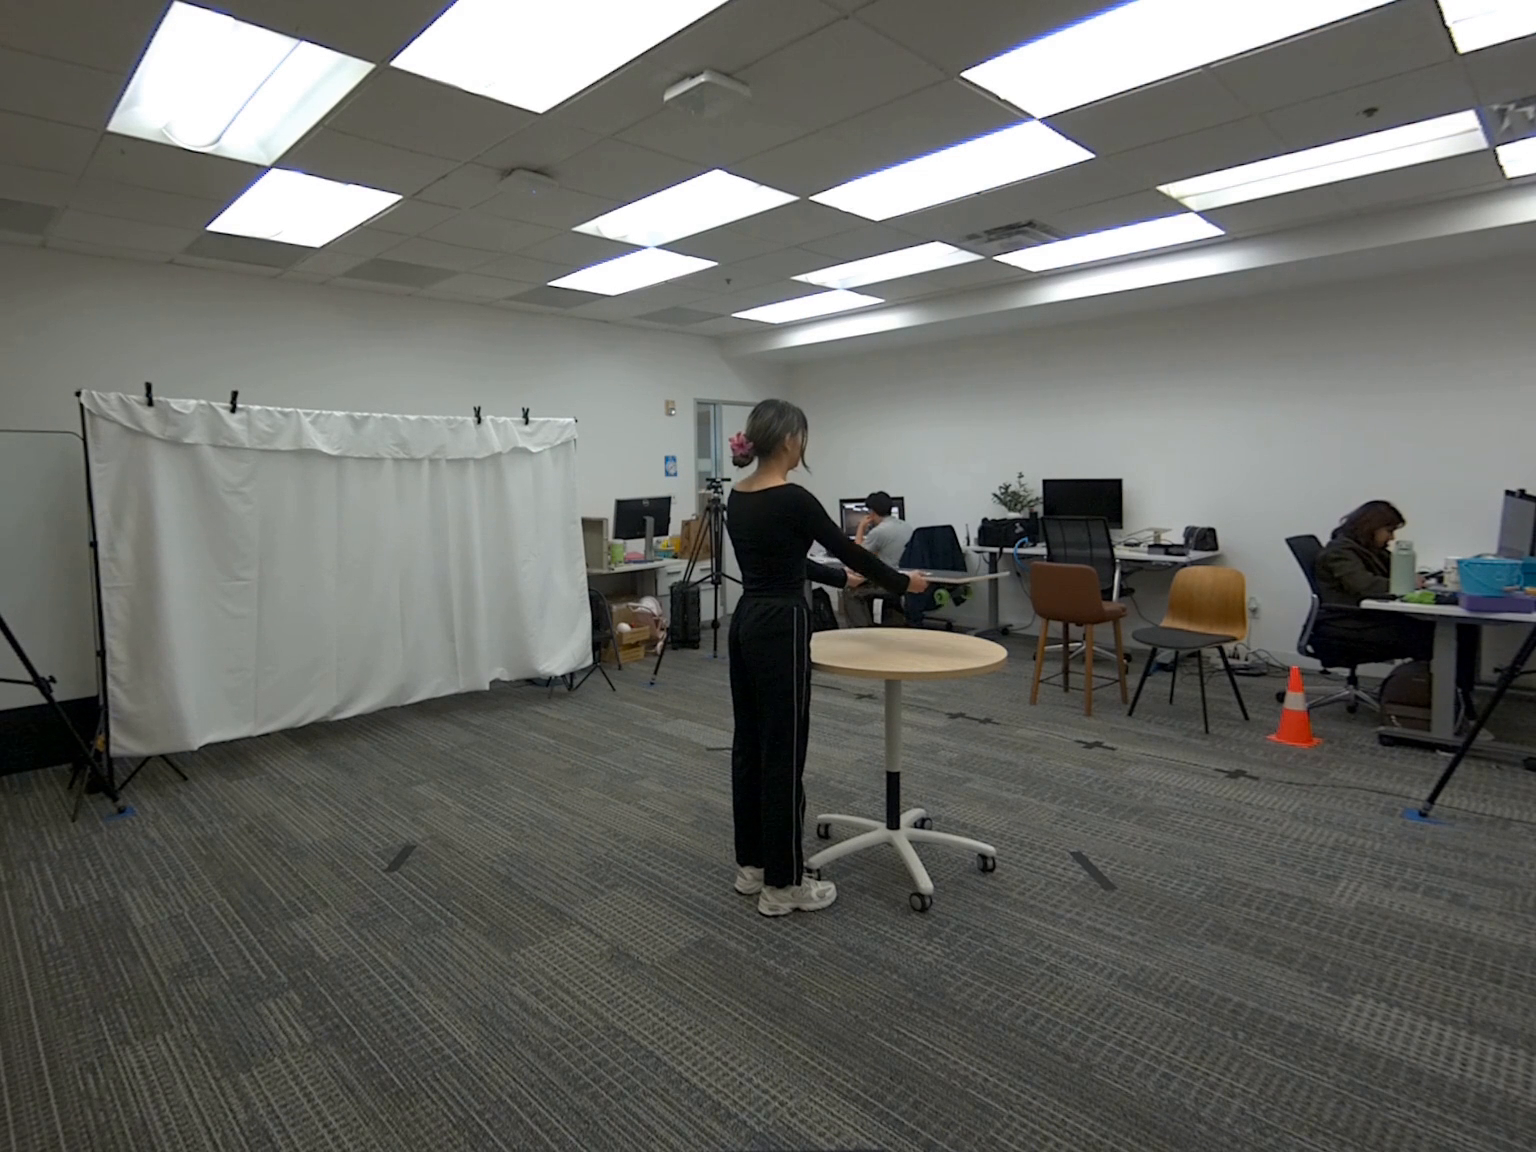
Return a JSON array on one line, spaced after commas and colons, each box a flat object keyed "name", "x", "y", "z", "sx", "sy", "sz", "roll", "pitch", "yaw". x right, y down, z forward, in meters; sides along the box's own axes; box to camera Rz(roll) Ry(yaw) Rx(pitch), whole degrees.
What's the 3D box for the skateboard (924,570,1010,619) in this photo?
[{"name": "skateboard", "x": 0.504, "y": 0.025, "z": 3.112, "sx": 0.188, "sy": 0.110, "sz": 0.809, "roll": -6, "pitch": 7, "yaw": -42}]
